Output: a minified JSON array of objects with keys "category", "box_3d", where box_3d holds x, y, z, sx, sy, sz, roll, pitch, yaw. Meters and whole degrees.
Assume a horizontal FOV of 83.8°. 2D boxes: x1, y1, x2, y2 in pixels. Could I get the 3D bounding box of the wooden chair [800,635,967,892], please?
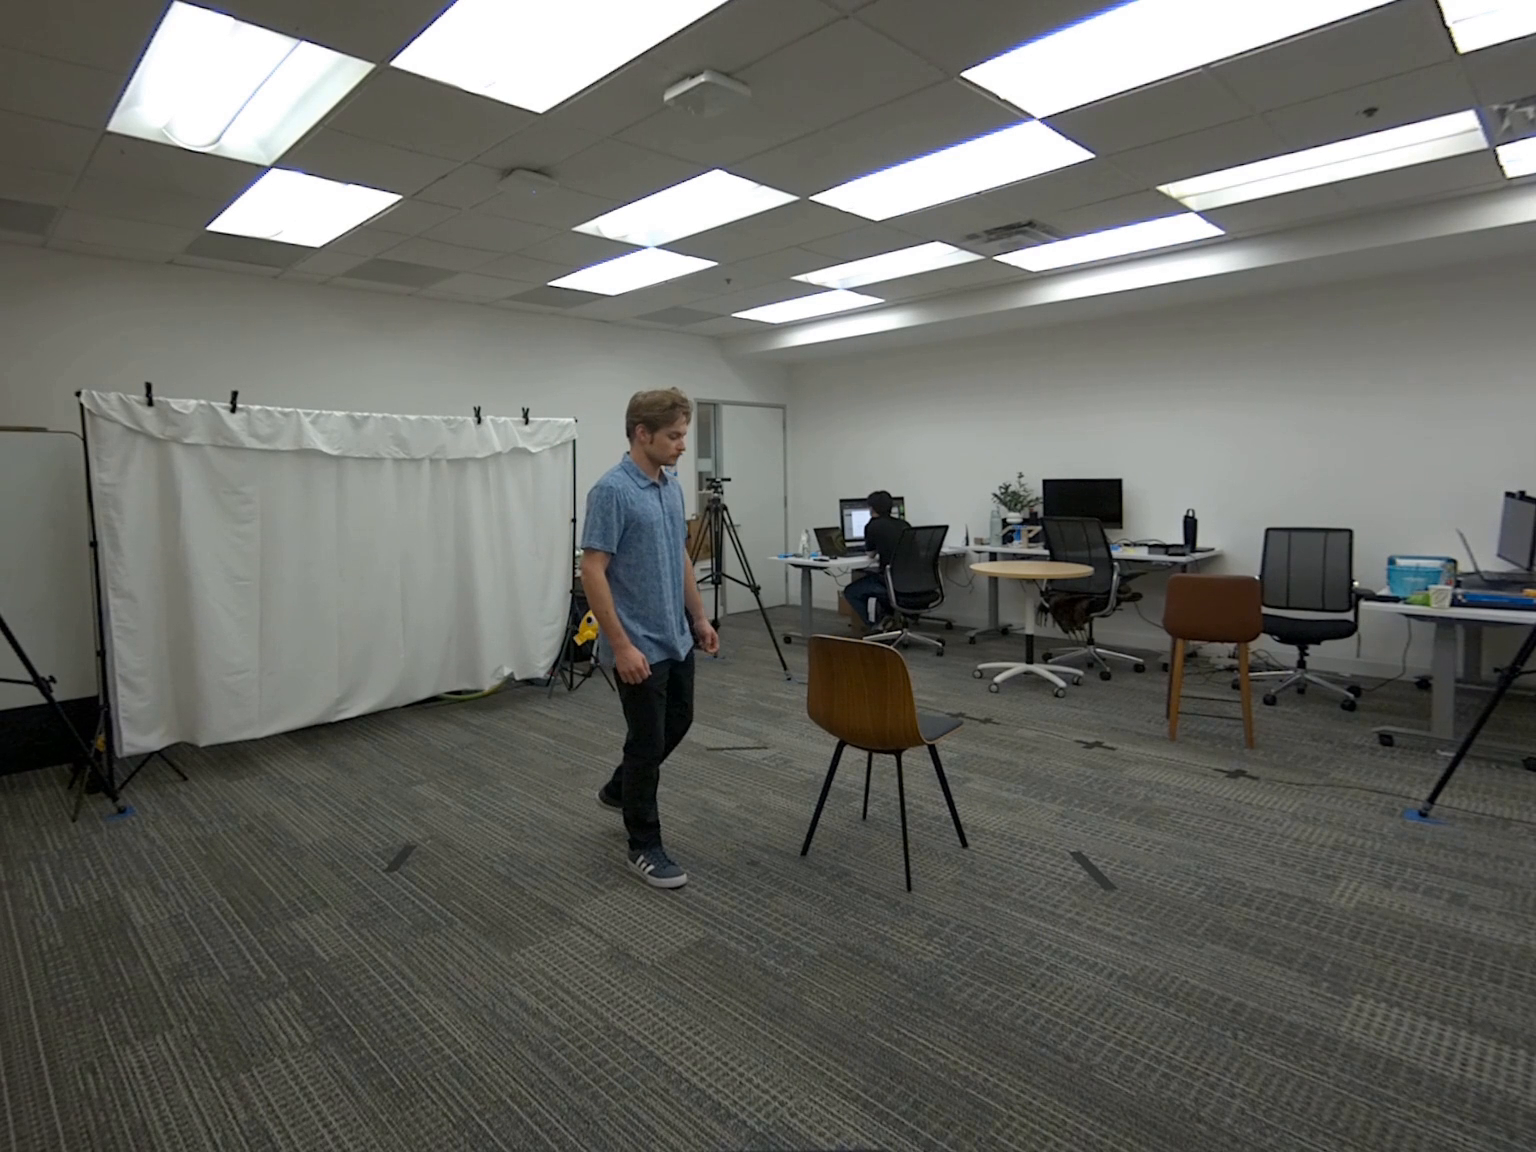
[{"category":"wooden chair","box_3d":[0.433,0.598,3.155,0.492,0.871,0.512,2,10,38]}]
